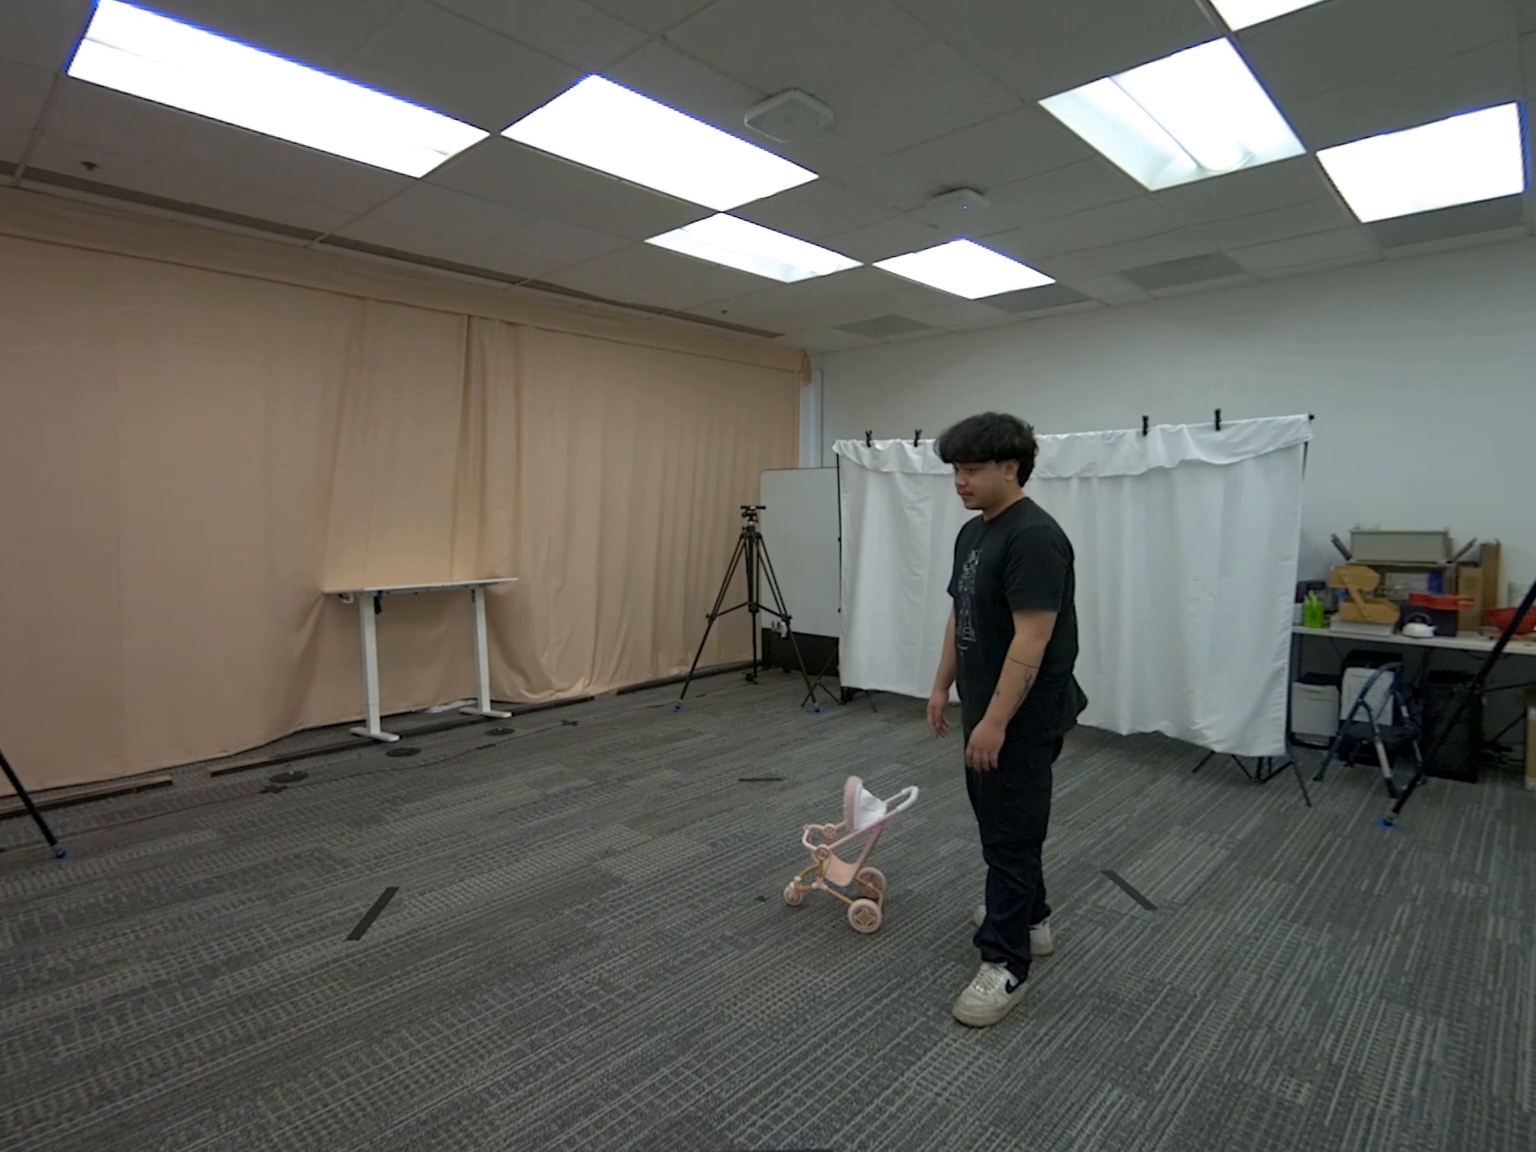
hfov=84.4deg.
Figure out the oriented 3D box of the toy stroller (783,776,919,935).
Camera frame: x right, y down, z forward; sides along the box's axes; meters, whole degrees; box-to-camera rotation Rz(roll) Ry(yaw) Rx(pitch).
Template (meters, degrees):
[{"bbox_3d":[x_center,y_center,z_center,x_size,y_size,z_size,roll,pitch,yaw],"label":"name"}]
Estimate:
[{"bbox_3d":[0.280,0.927,2.878,0.349,0.533,0.276,17,8,17],"label":"toy stroller"}]
